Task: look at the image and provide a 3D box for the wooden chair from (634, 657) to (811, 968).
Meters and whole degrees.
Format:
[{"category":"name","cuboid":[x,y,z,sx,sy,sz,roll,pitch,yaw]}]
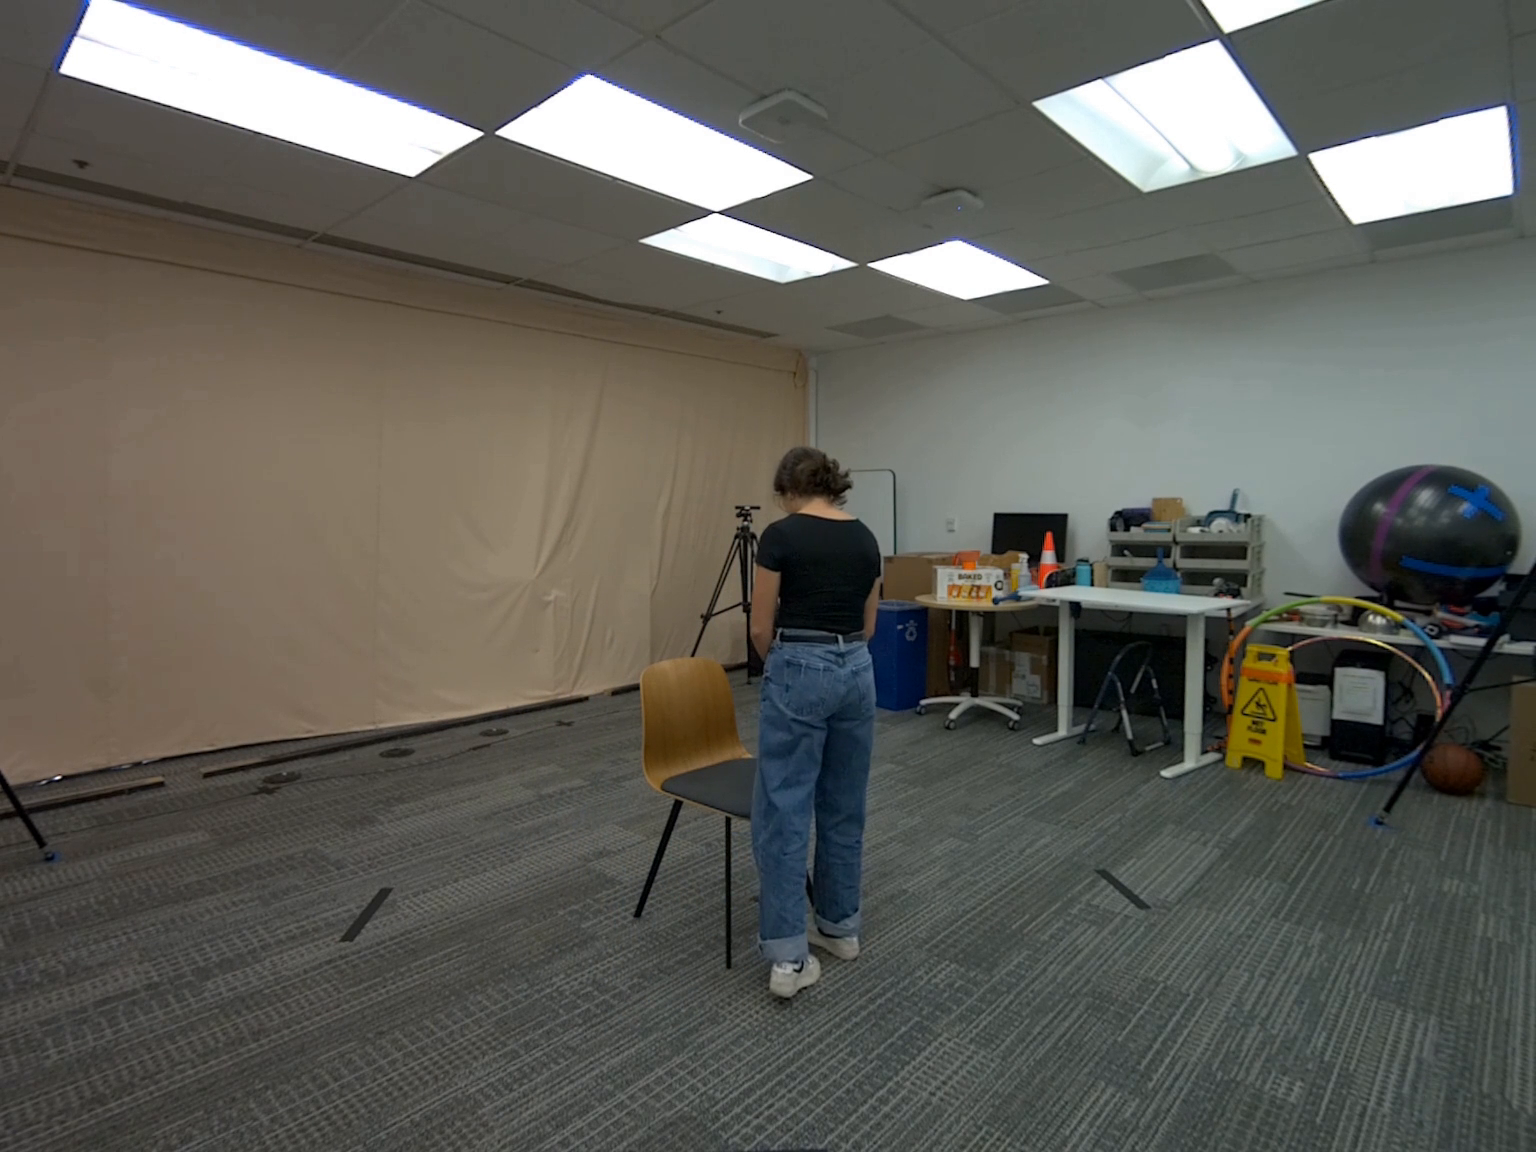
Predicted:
[{"category":"wooden chair","cuboid":[-0.134,0.734,2.815,0.539,0.877,0.463,-3,1,44]}]
